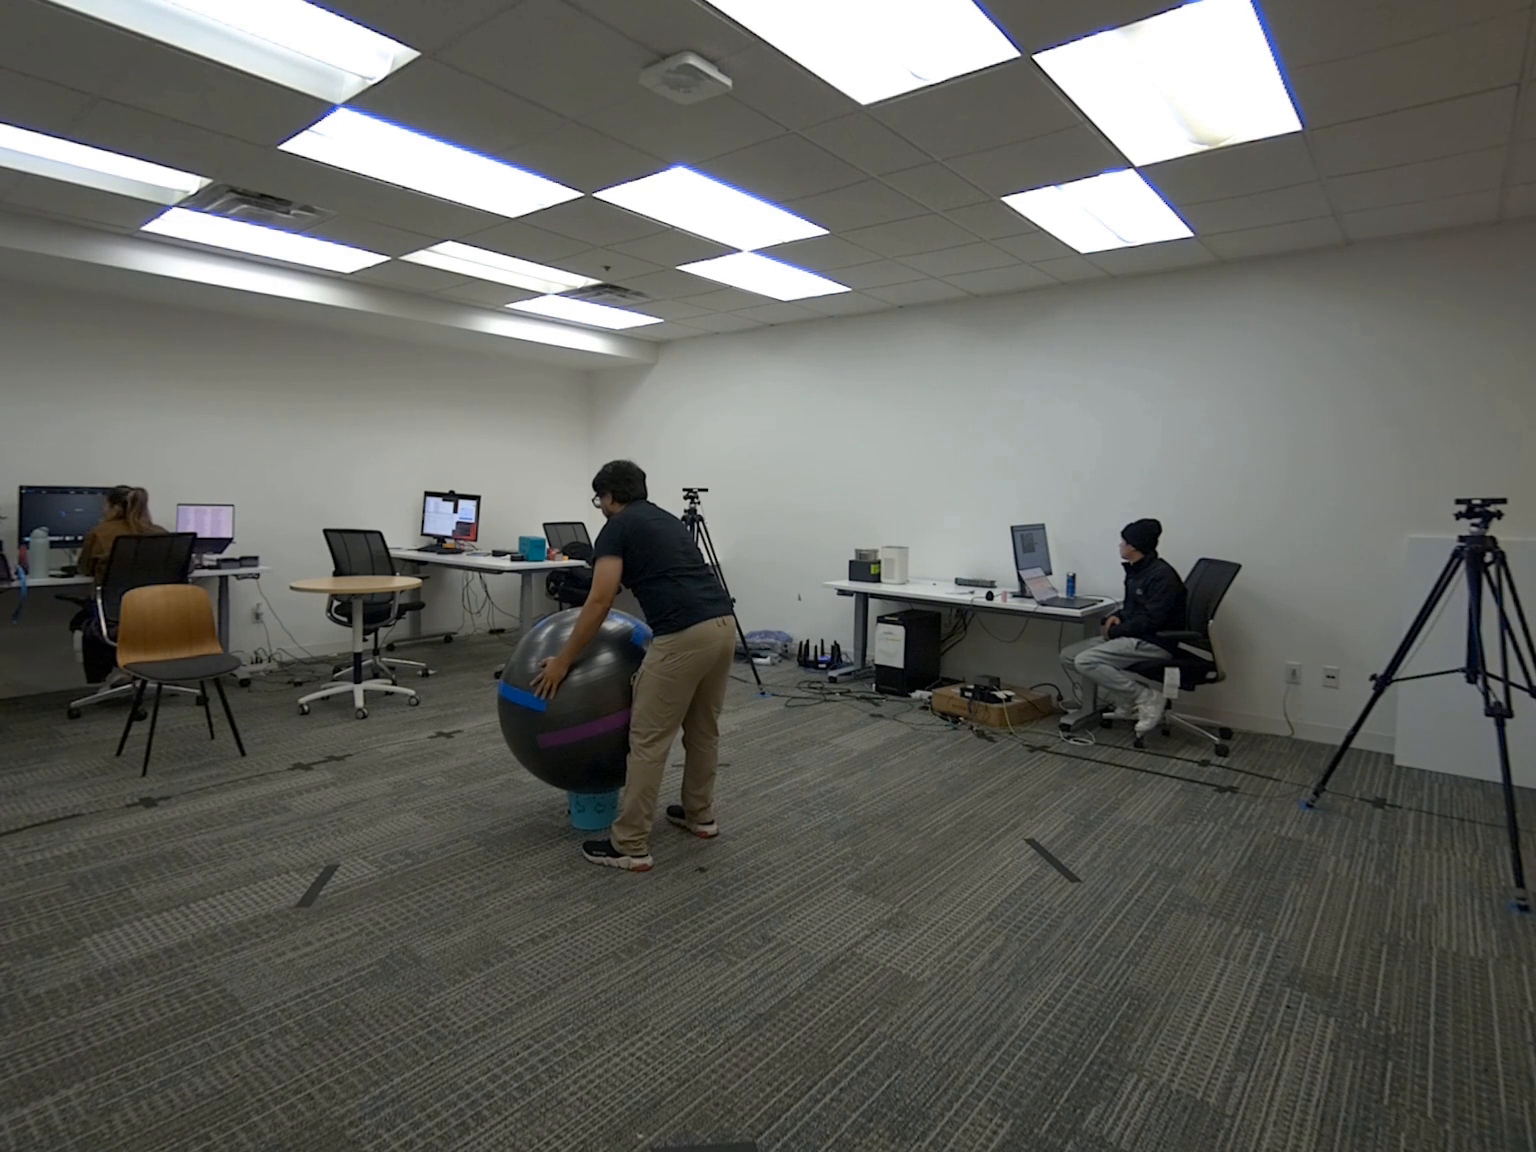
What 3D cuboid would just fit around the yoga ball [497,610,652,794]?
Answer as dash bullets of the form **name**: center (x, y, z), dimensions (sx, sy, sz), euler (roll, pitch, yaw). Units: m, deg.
- **yoga ball**: center (-0.760, 0.516, 3.537), dimensions (0.757, 0.756, 0.761), euler (1, 4, -2)
